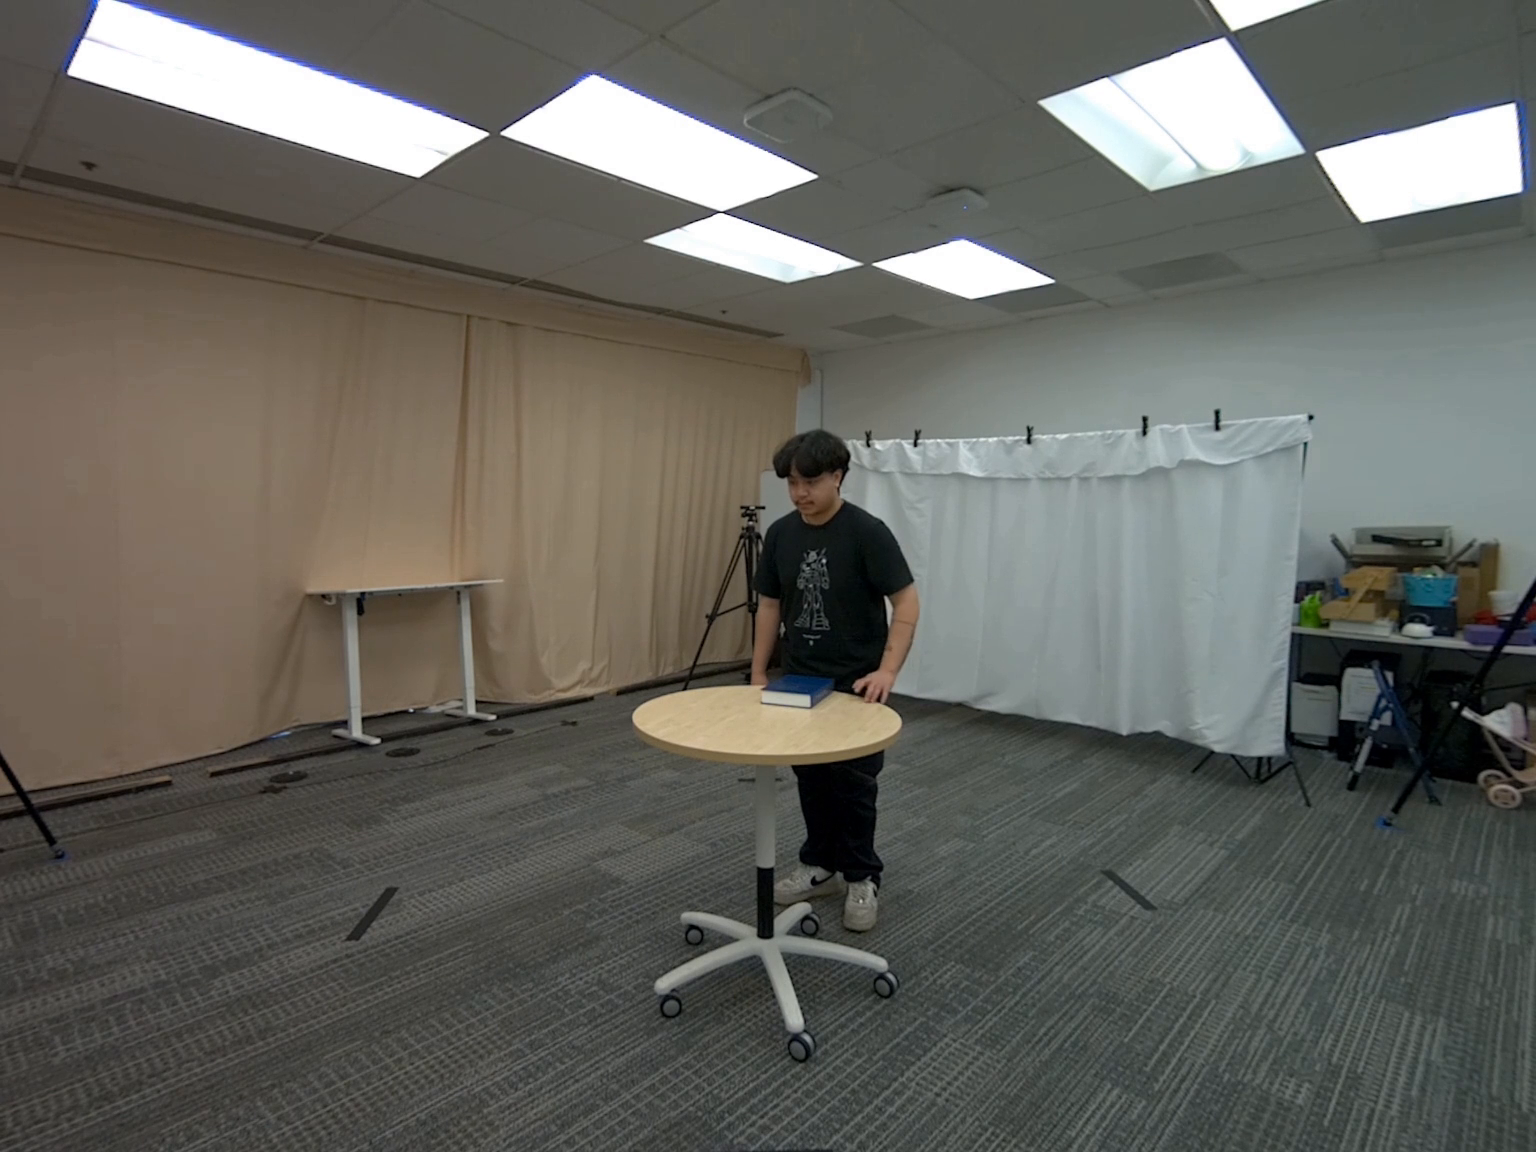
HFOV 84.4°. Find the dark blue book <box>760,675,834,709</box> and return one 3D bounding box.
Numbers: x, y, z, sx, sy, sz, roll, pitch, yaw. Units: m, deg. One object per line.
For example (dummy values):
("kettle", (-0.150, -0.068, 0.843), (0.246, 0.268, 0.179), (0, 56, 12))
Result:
("dark blue book", (0.100, 0.360, 2.629), (0.167, 0.045, 0.240), (2, 5, 22))
